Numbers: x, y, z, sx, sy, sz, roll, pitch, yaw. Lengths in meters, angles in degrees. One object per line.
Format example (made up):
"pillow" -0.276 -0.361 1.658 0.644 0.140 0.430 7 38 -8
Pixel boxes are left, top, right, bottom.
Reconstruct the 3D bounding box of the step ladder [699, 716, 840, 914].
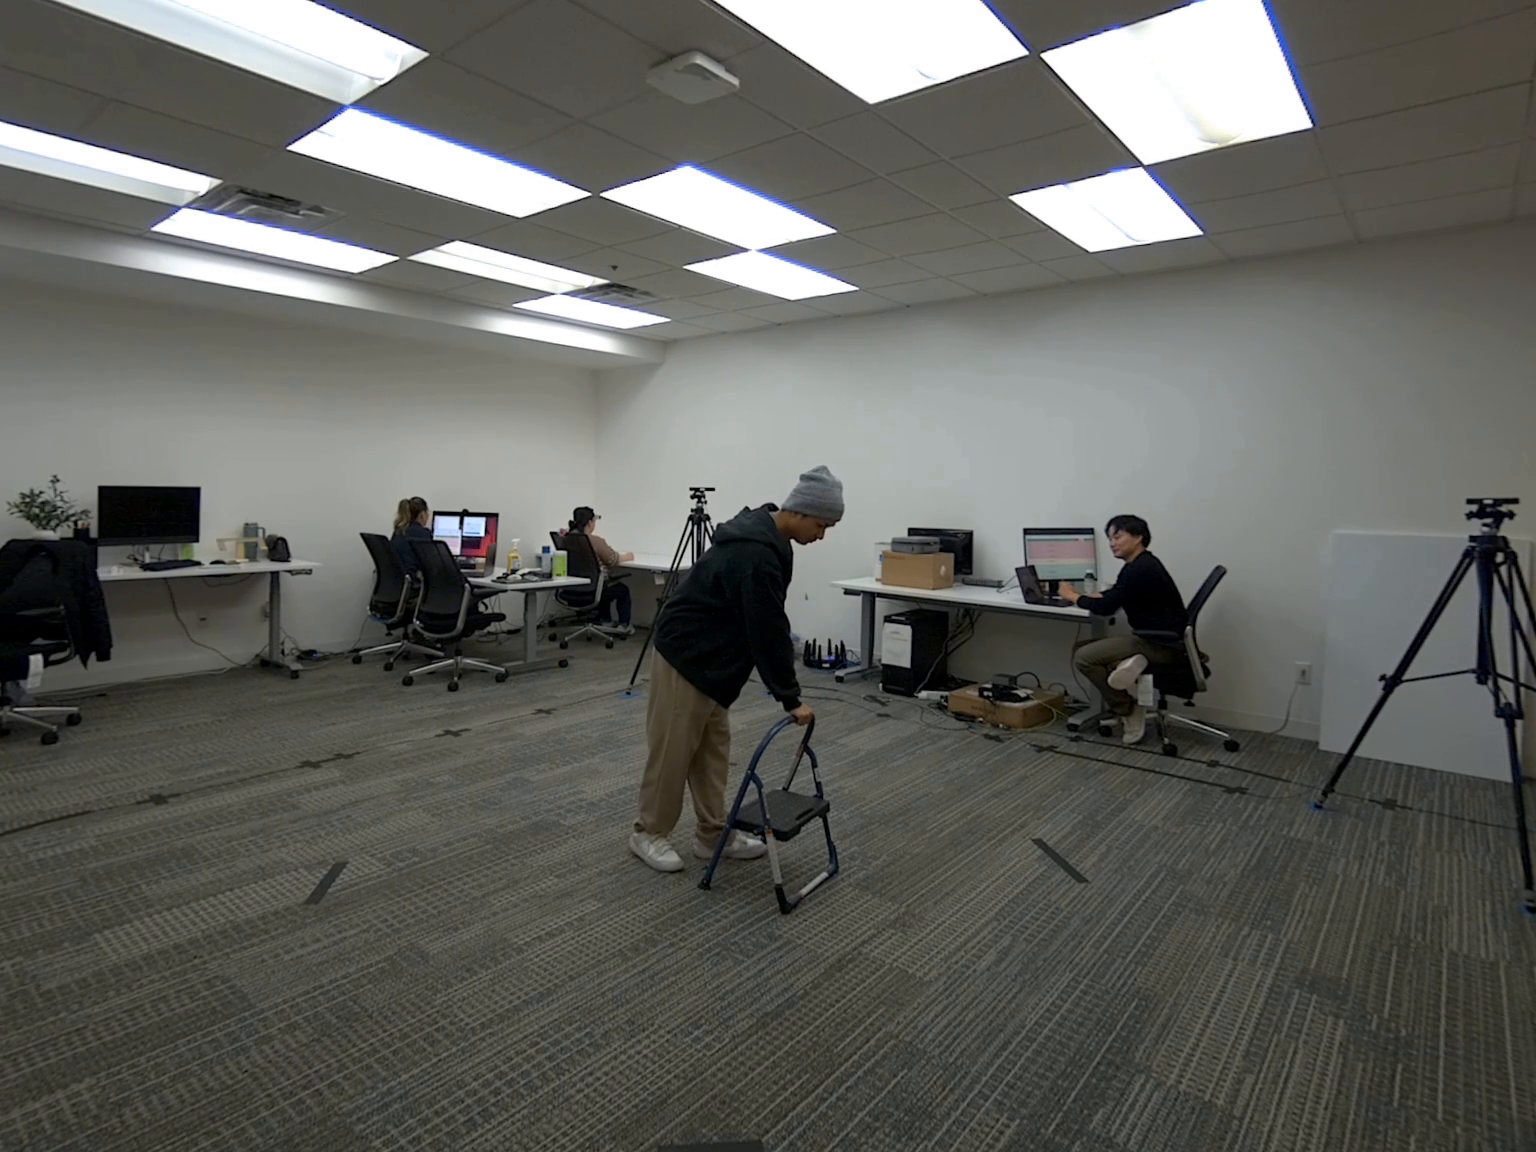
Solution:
"step ladder" 0.013 0.776 3.020 0.360 0.604 0.419 3 4 31
